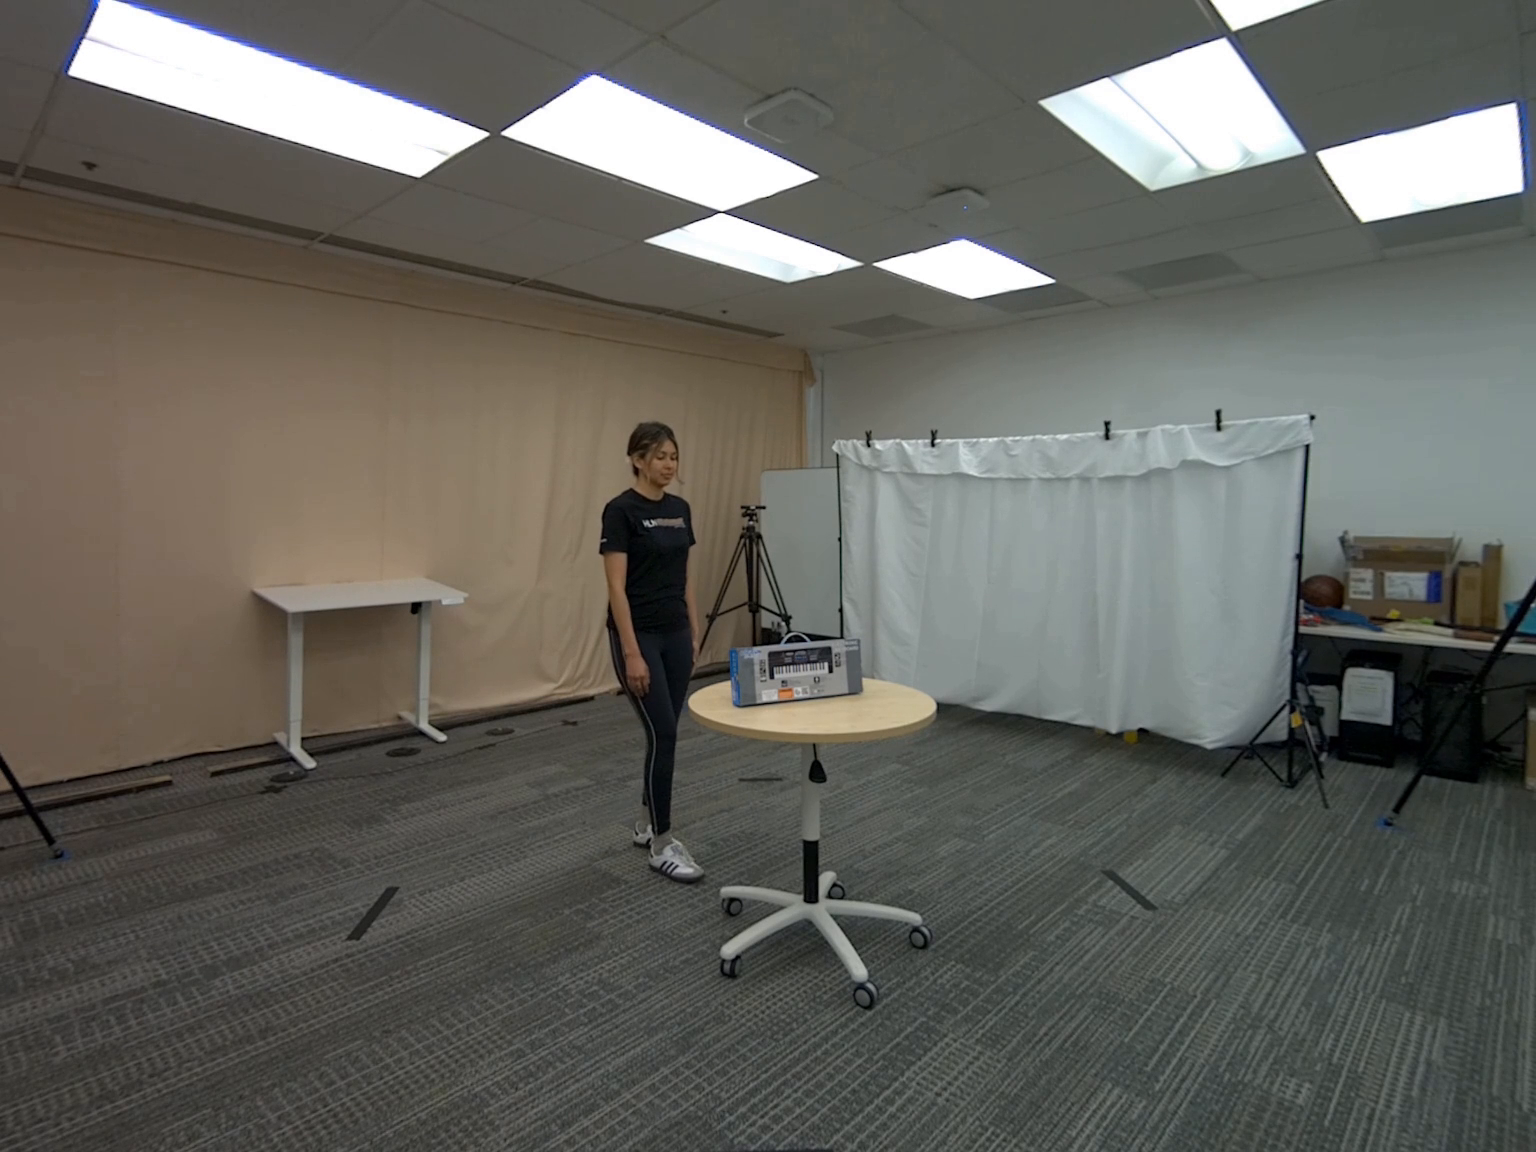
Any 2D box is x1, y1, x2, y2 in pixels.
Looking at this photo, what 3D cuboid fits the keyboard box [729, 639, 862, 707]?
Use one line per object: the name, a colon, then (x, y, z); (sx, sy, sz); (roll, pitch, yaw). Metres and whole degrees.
keyboard box: (0.101, 0.301, 2.647); (0.427, 0.176, 0.060); (-3, -4, -22)
